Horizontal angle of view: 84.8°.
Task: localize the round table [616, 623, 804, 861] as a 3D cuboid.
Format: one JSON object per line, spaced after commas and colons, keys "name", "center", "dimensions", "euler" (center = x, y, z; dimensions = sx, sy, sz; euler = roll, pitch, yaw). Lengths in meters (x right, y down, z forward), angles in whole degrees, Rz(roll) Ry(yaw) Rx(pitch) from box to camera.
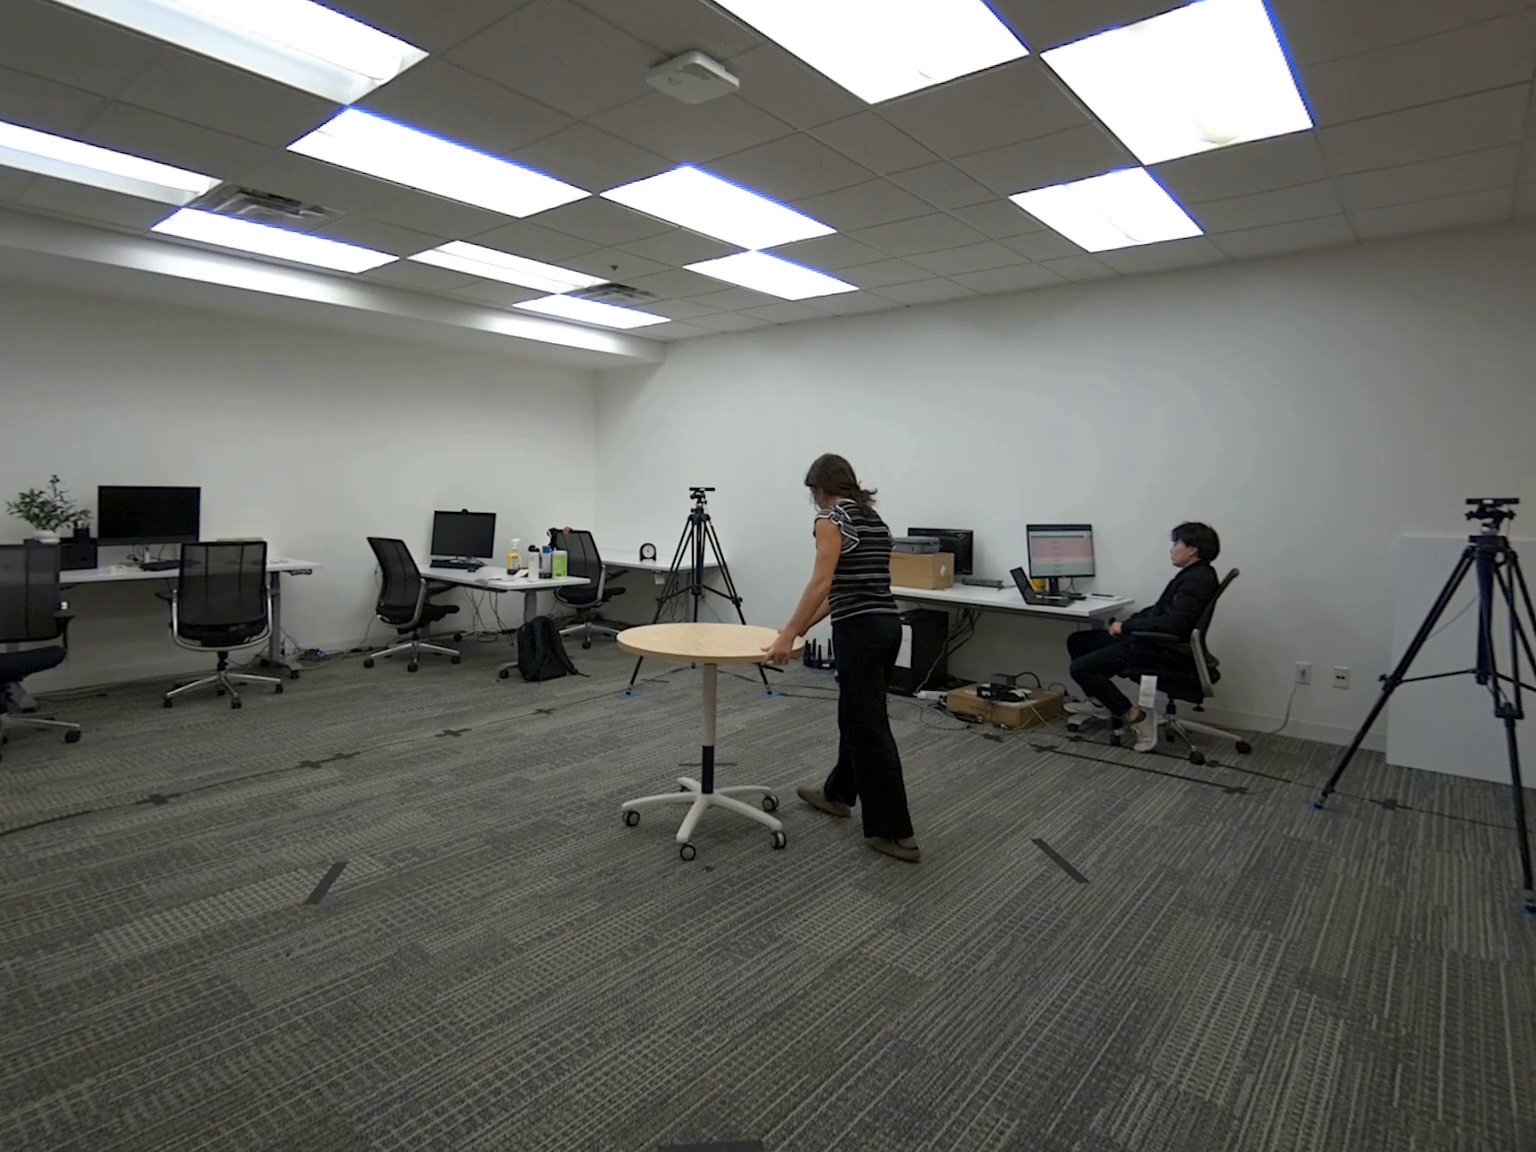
{"name": "round table", "center": [-0.259, 0.643, 3.491], "dimensions": [0.763, 0.792, 0.768], "euler": [1, 4, -2]}
